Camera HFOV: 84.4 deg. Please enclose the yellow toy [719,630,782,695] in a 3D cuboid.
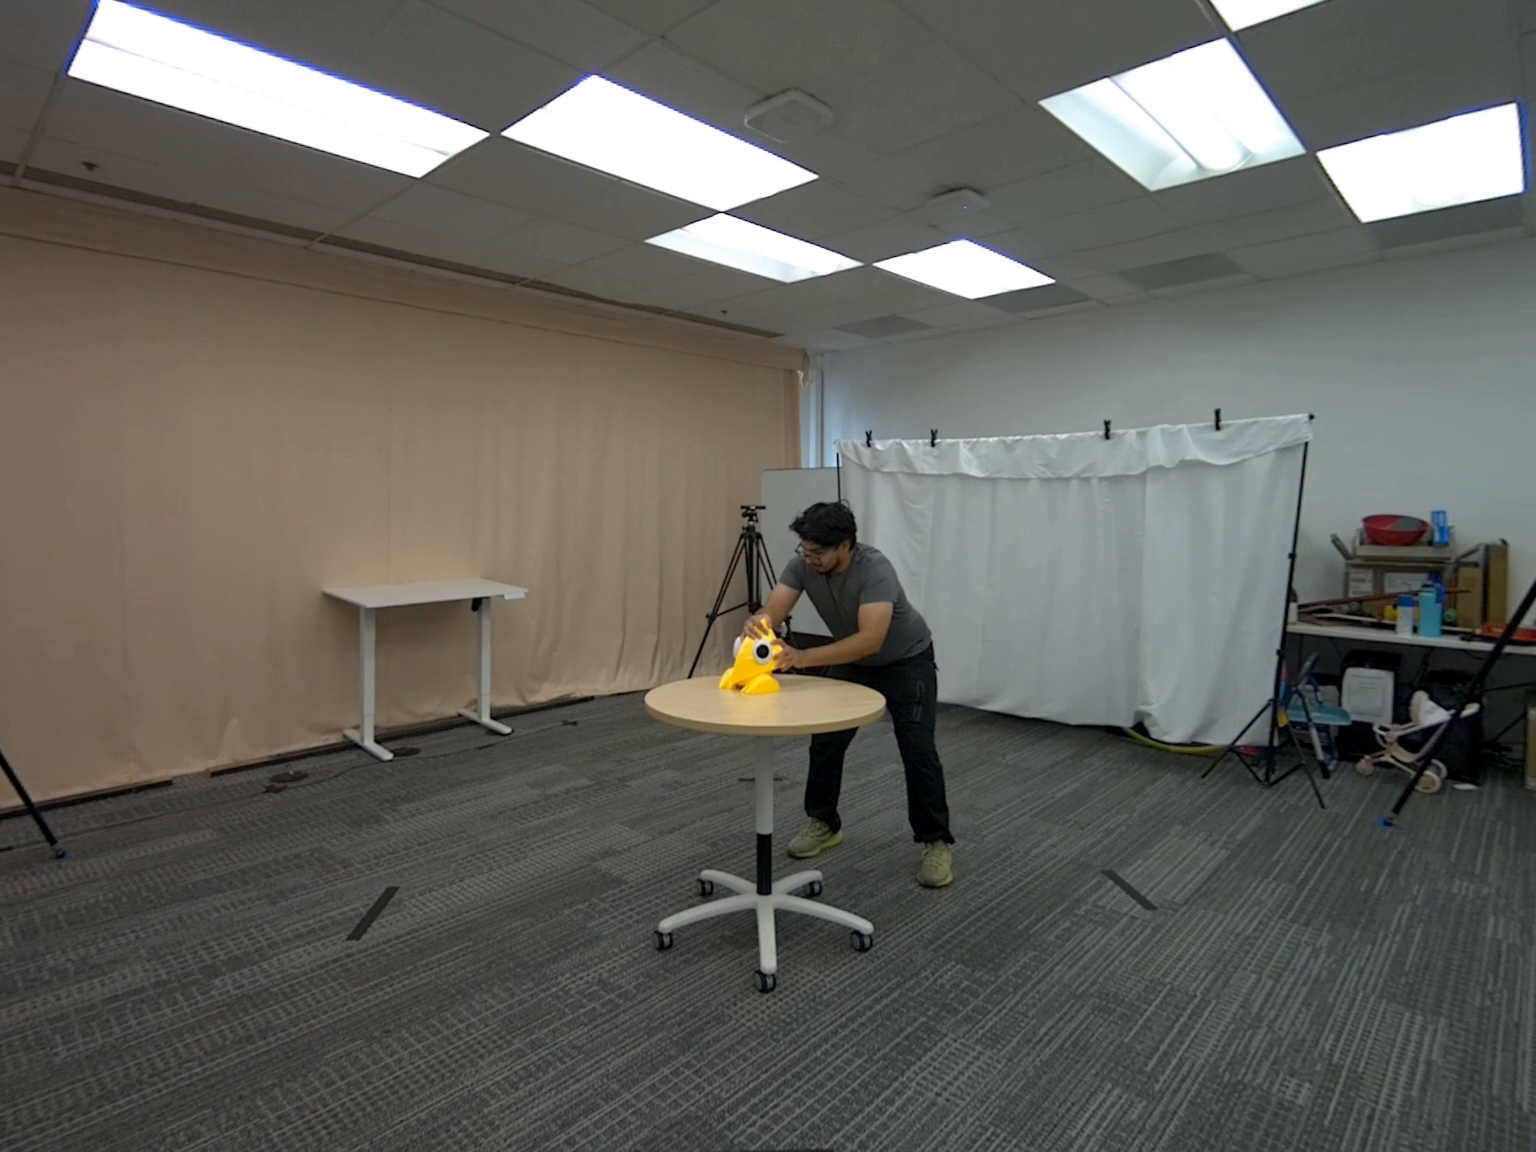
[{"bbox_3d":[-0.050,0.264,2.835,0.187,0.230,0.212,-4,6,-44],"label":"yellow toy"}]
